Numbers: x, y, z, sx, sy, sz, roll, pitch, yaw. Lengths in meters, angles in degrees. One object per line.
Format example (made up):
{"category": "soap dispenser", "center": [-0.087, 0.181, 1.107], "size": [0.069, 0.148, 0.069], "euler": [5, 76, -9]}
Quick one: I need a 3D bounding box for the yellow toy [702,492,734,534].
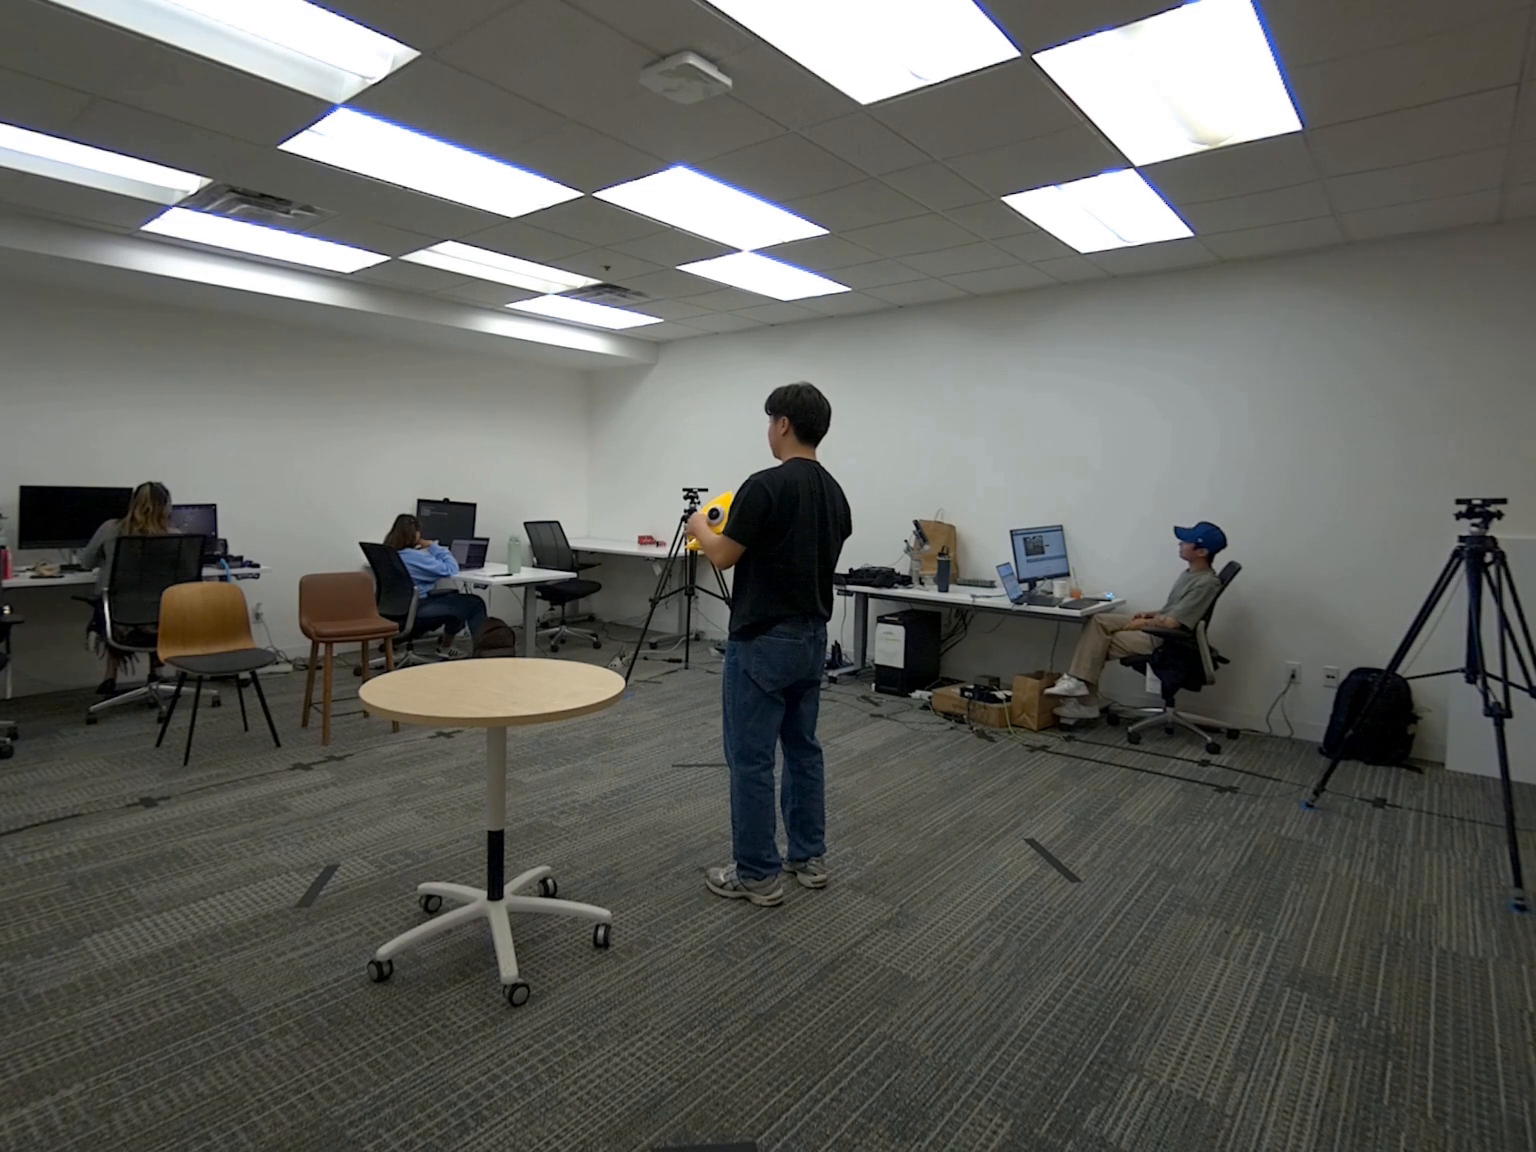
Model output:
{"category": "yellow toy", "center": [-0.209, -0.214, 3.194], "size": [0.190, 0.231, 0.207], "euler": [5, -3, -14]}
